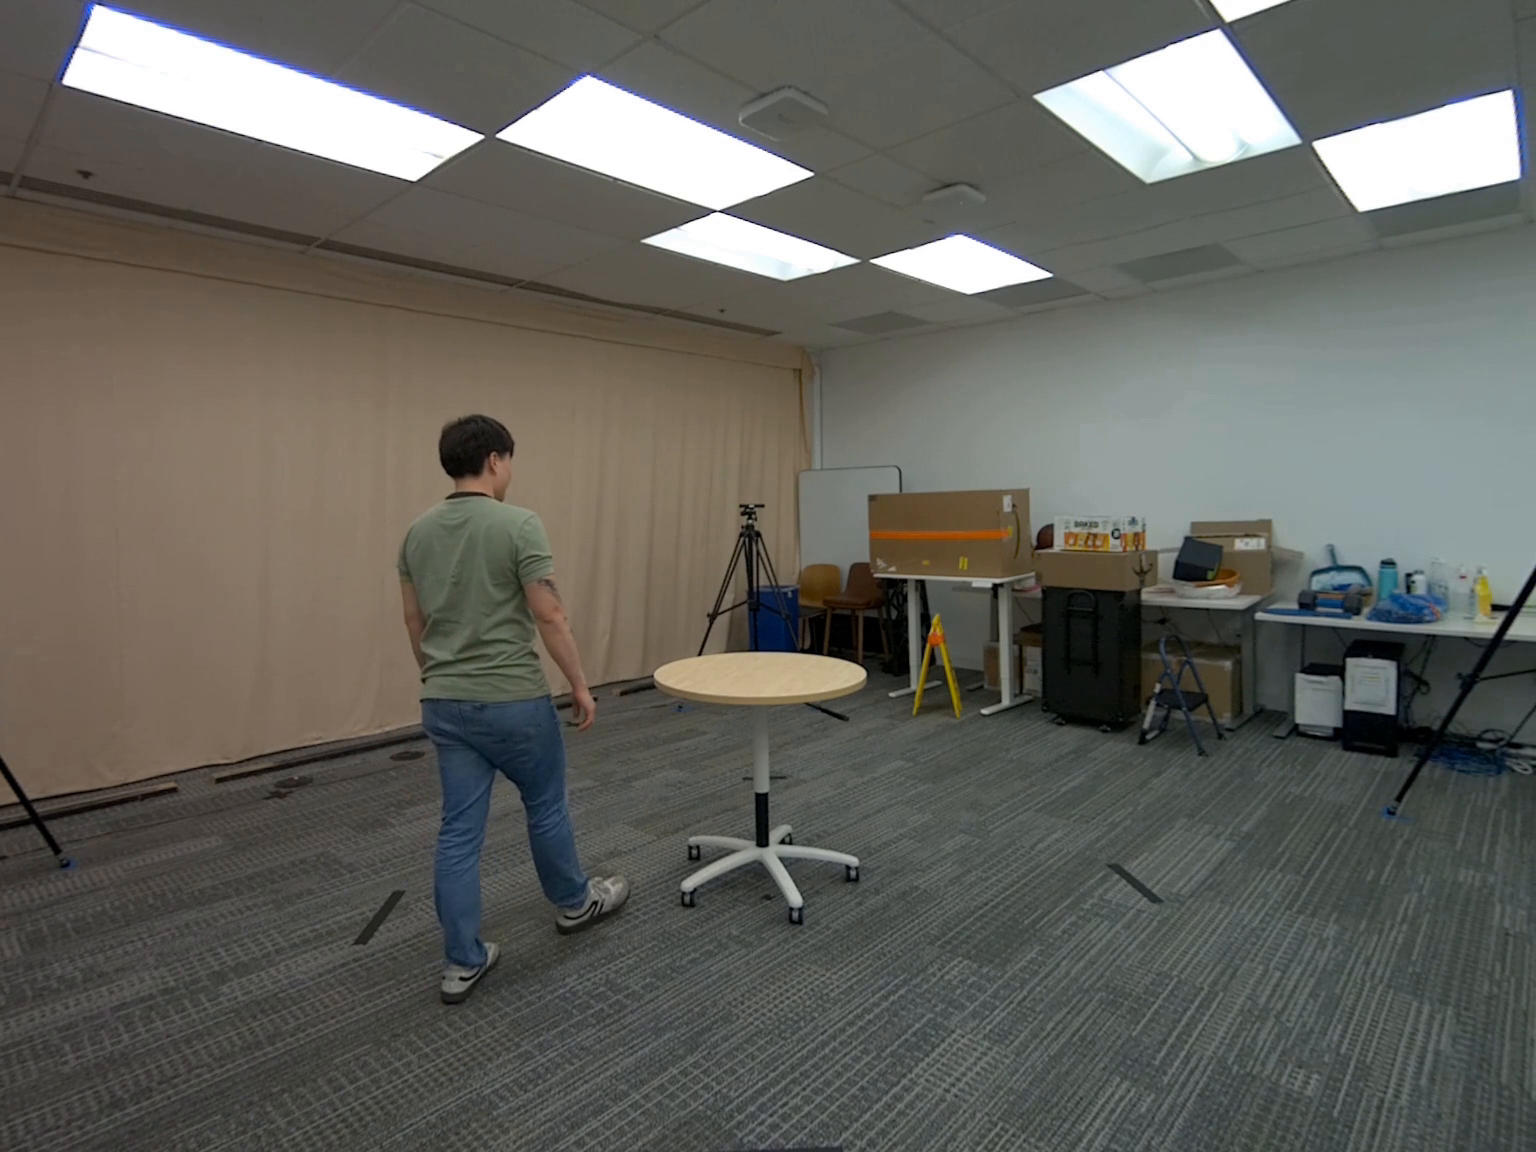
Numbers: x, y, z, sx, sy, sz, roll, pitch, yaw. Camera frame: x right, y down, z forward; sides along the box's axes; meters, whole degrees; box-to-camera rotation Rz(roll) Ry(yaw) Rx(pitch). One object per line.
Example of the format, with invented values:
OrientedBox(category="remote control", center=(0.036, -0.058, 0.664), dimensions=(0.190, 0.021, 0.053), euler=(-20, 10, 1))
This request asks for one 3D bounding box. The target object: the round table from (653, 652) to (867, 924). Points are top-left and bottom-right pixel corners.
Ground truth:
OrientedBox(category="round table", center=(-0.017, 0.741, 3.079), dimensions=(0.763, 0.792, 0.767), euler=(-1, 4, -2))
